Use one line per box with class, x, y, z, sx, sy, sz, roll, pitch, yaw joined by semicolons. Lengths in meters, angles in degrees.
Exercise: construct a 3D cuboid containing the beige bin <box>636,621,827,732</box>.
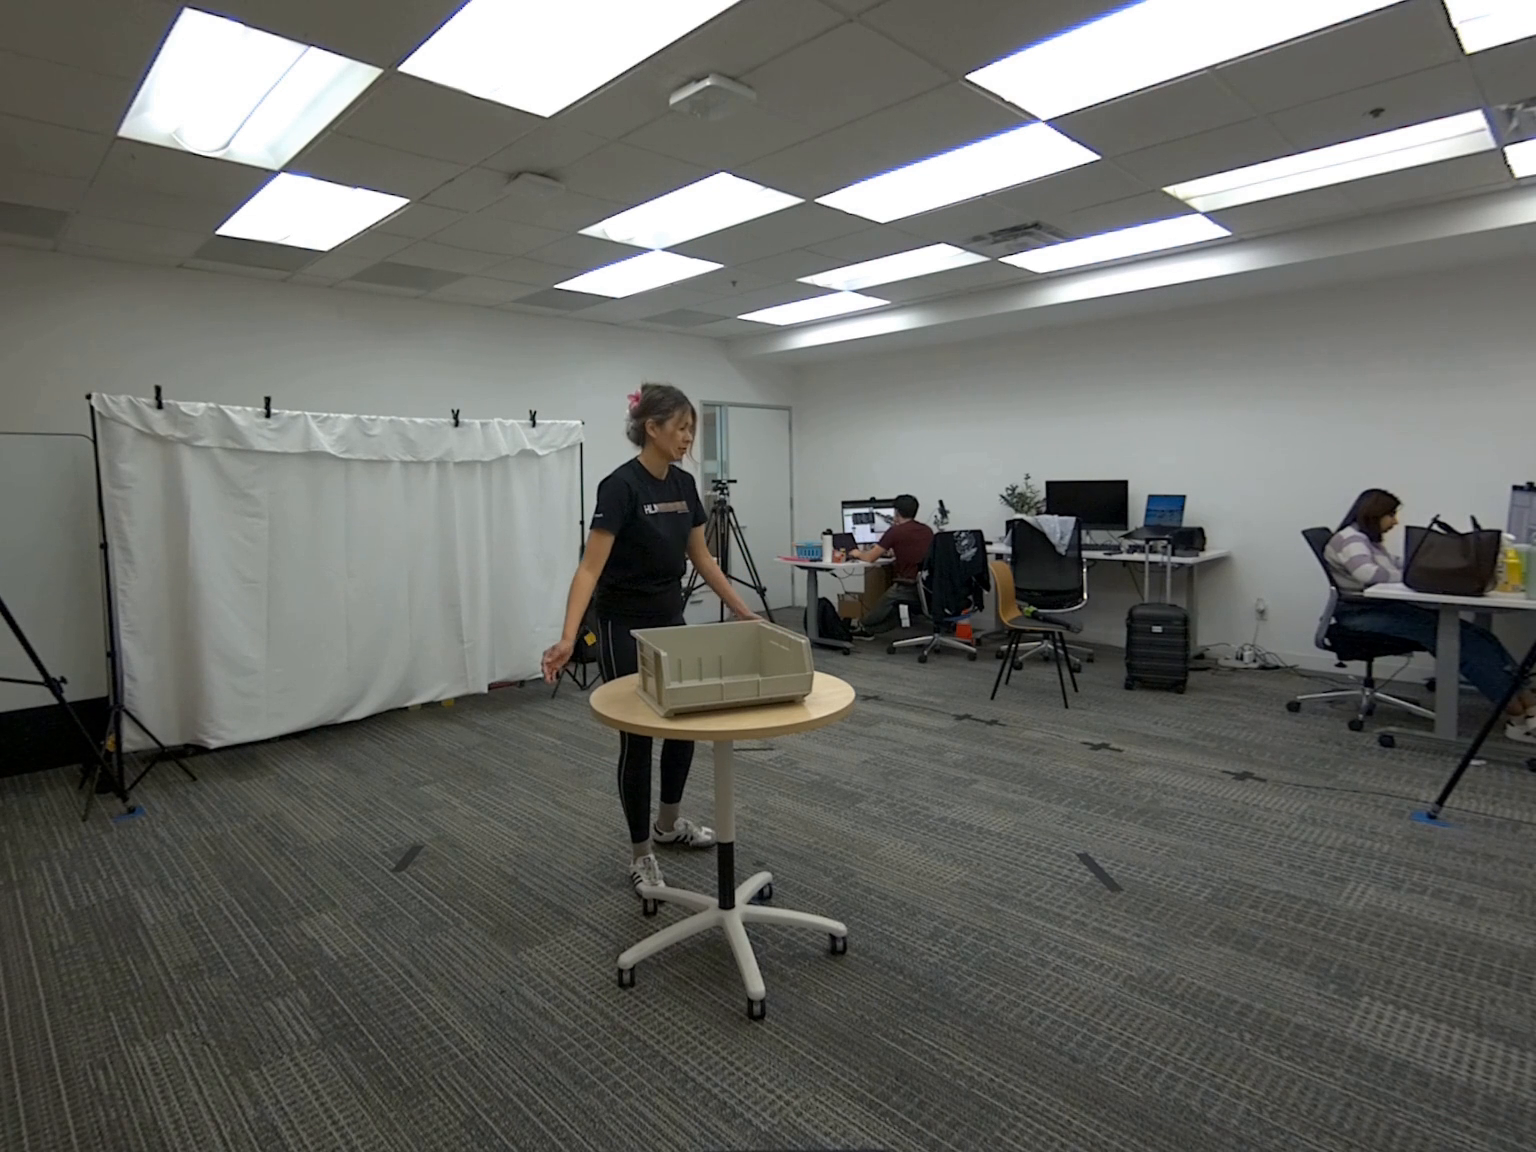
beige bin;-0.115;0.265;2.407;0.415;0.188;0.386;-4;6;-20
